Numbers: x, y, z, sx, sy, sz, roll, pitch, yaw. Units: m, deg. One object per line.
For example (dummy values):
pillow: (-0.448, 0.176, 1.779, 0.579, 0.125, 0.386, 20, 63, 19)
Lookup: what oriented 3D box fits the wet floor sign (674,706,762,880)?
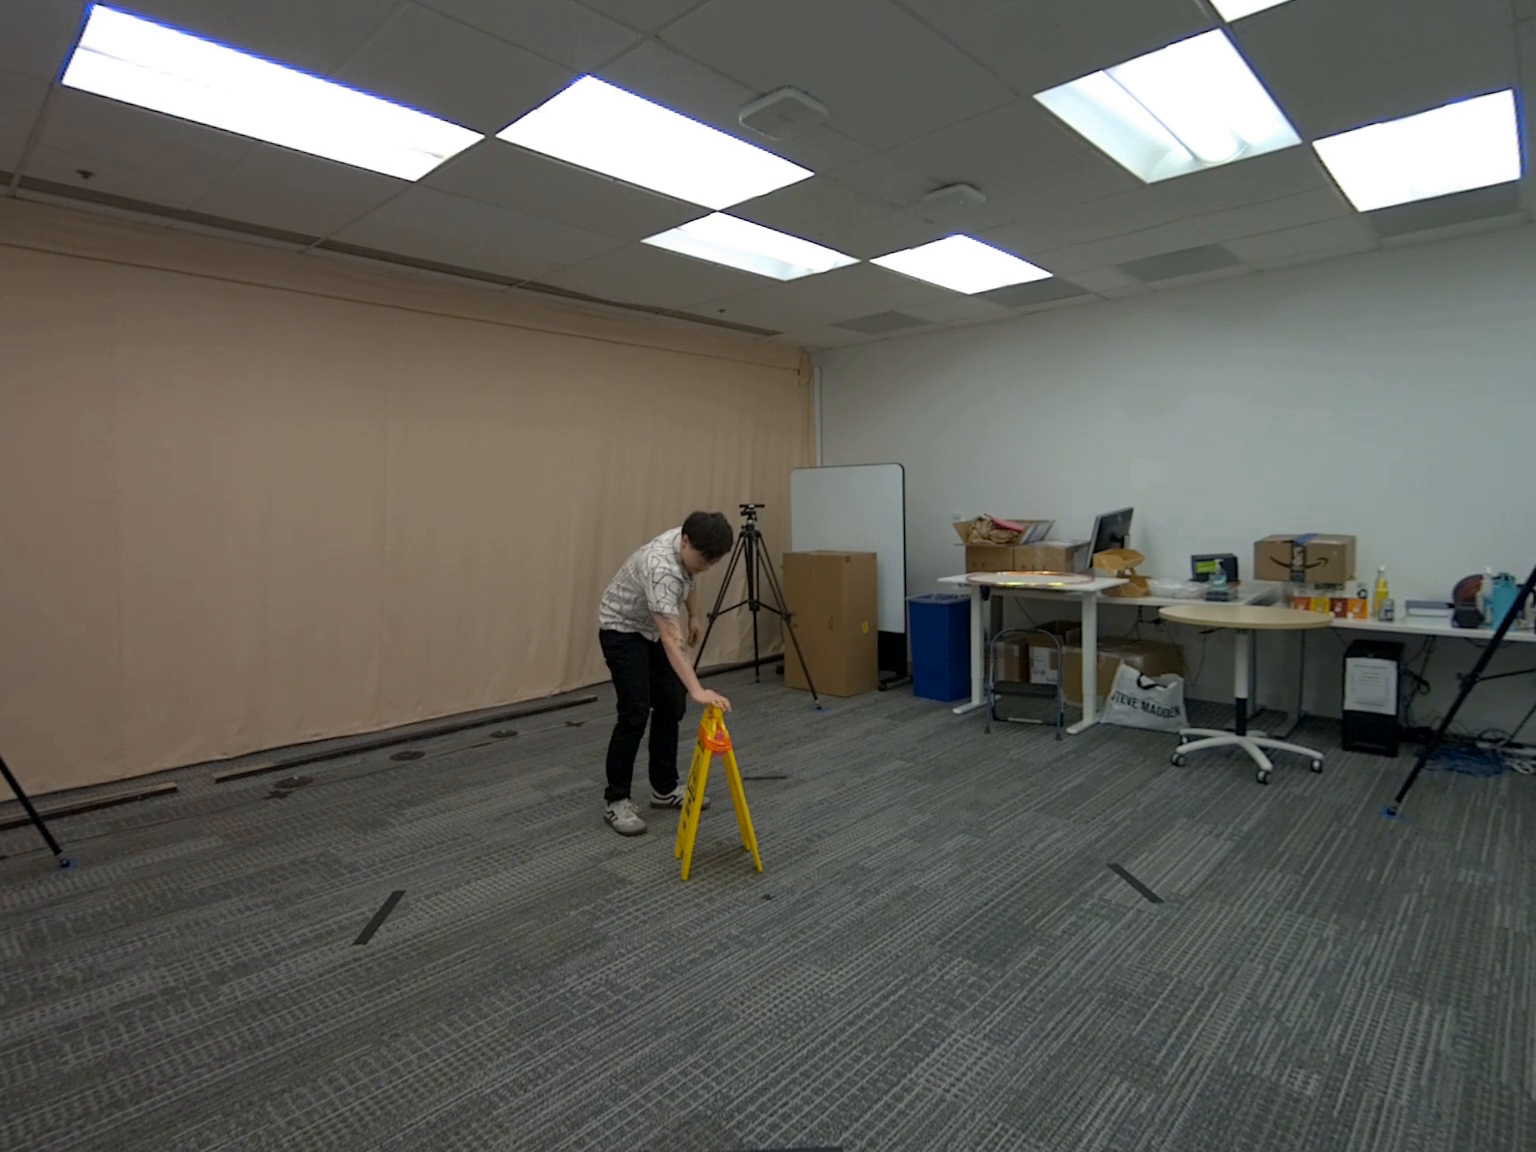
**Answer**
wet floor sign: (-0.206, 0.792, 3.269, 0.286, 0.645, 0.286, -2, 2, -13)
